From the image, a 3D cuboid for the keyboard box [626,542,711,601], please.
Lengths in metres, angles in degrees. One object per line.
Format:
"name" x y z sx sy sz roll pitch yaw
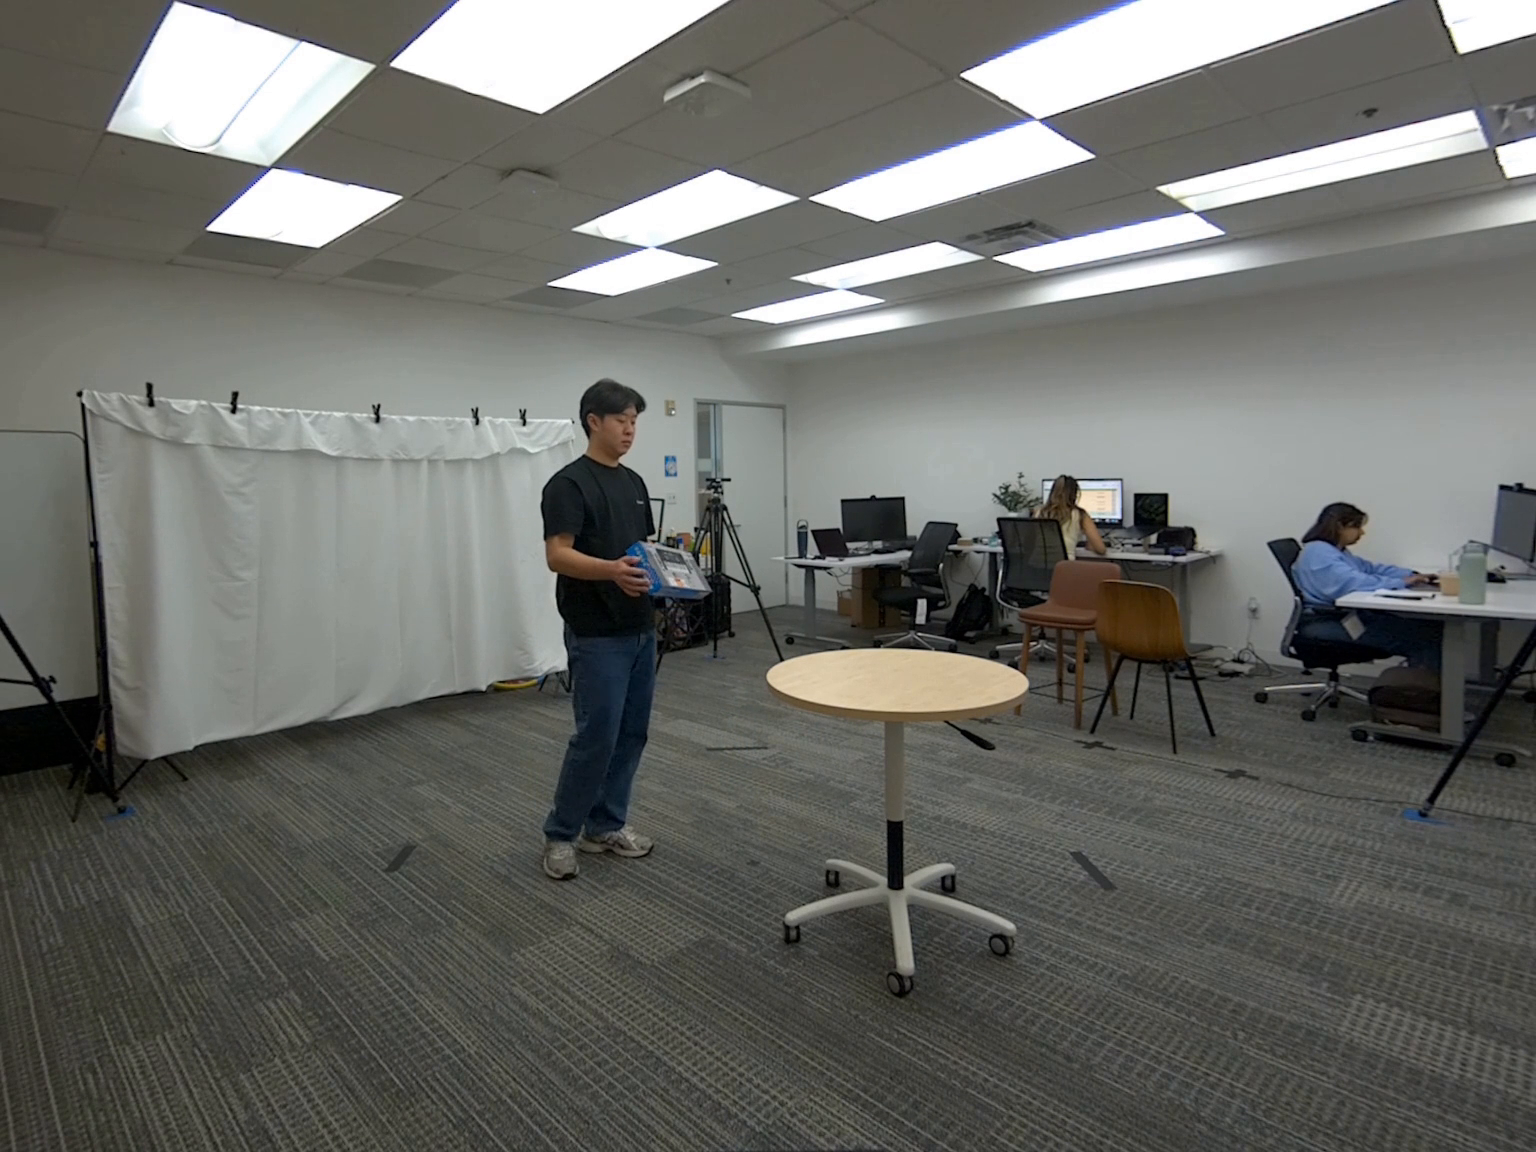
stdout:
"keyboard box" -0.333 -0.009 2.954 0.059 0.179 0.427 -34 -14 14
